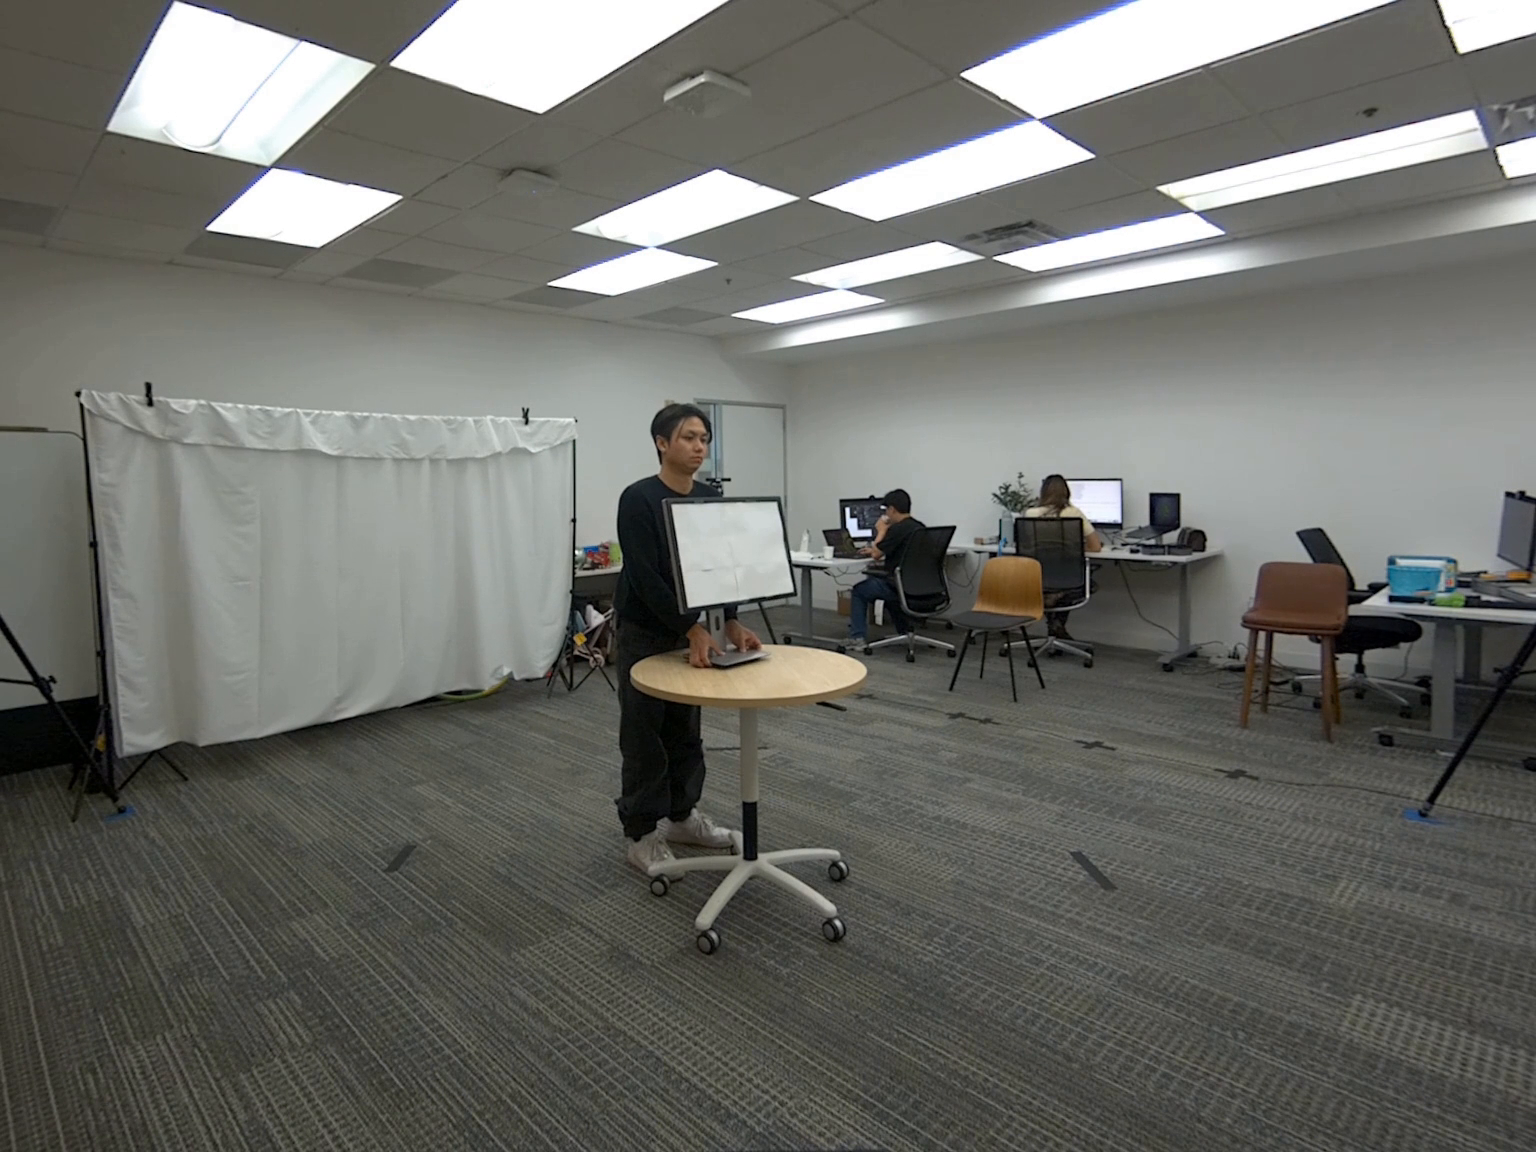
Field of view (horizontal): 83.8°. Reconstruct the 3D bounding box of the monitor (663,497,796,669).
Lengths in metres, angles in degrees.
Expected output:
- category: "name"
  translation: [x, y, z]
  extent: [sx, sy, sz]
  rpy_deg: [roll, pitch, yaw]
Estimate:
- category: "monitor"
  translation: [-0.139, 0.008, 2.883]
  extent: [0.193, 0.521, 0.525]
  rpy_deg: [3, 6, 40]
